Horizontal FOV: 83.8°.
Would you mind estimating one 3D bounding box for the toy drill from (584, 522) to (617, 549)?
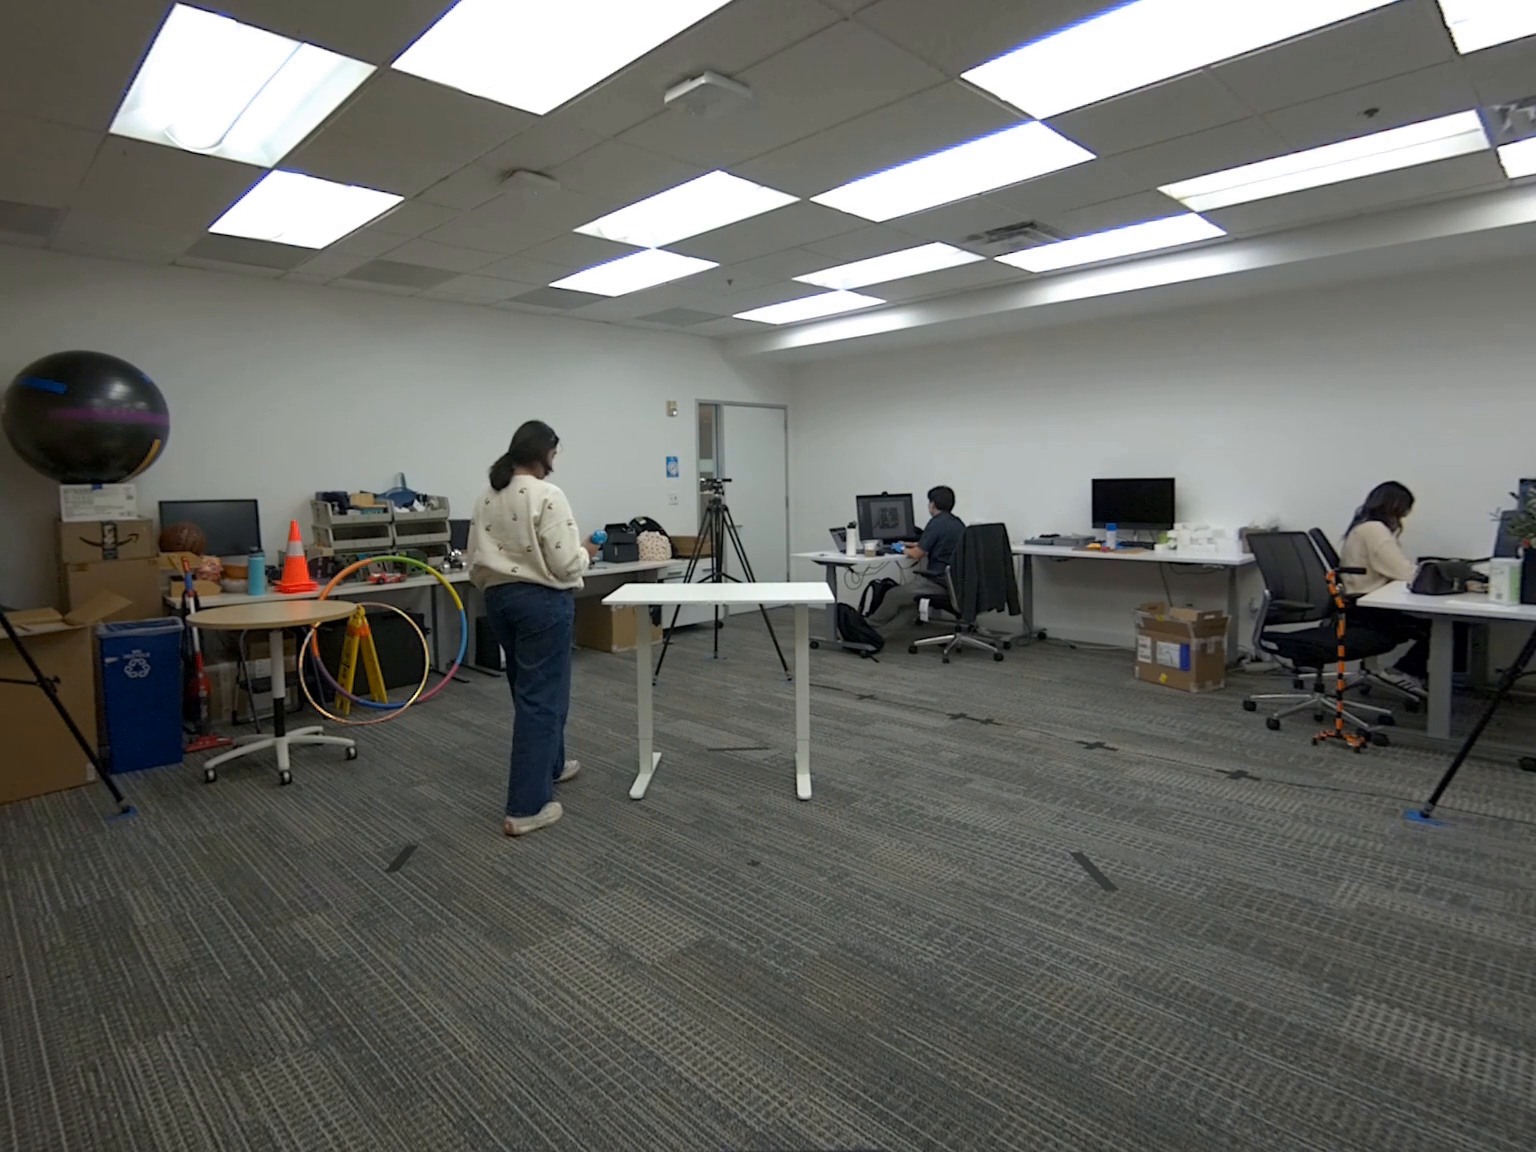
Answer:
[{"bbox_3d":[-0.767,-0.158,3.793,0.146,0.061,0.170,-39,6,11],"label":"toy drill"}]
